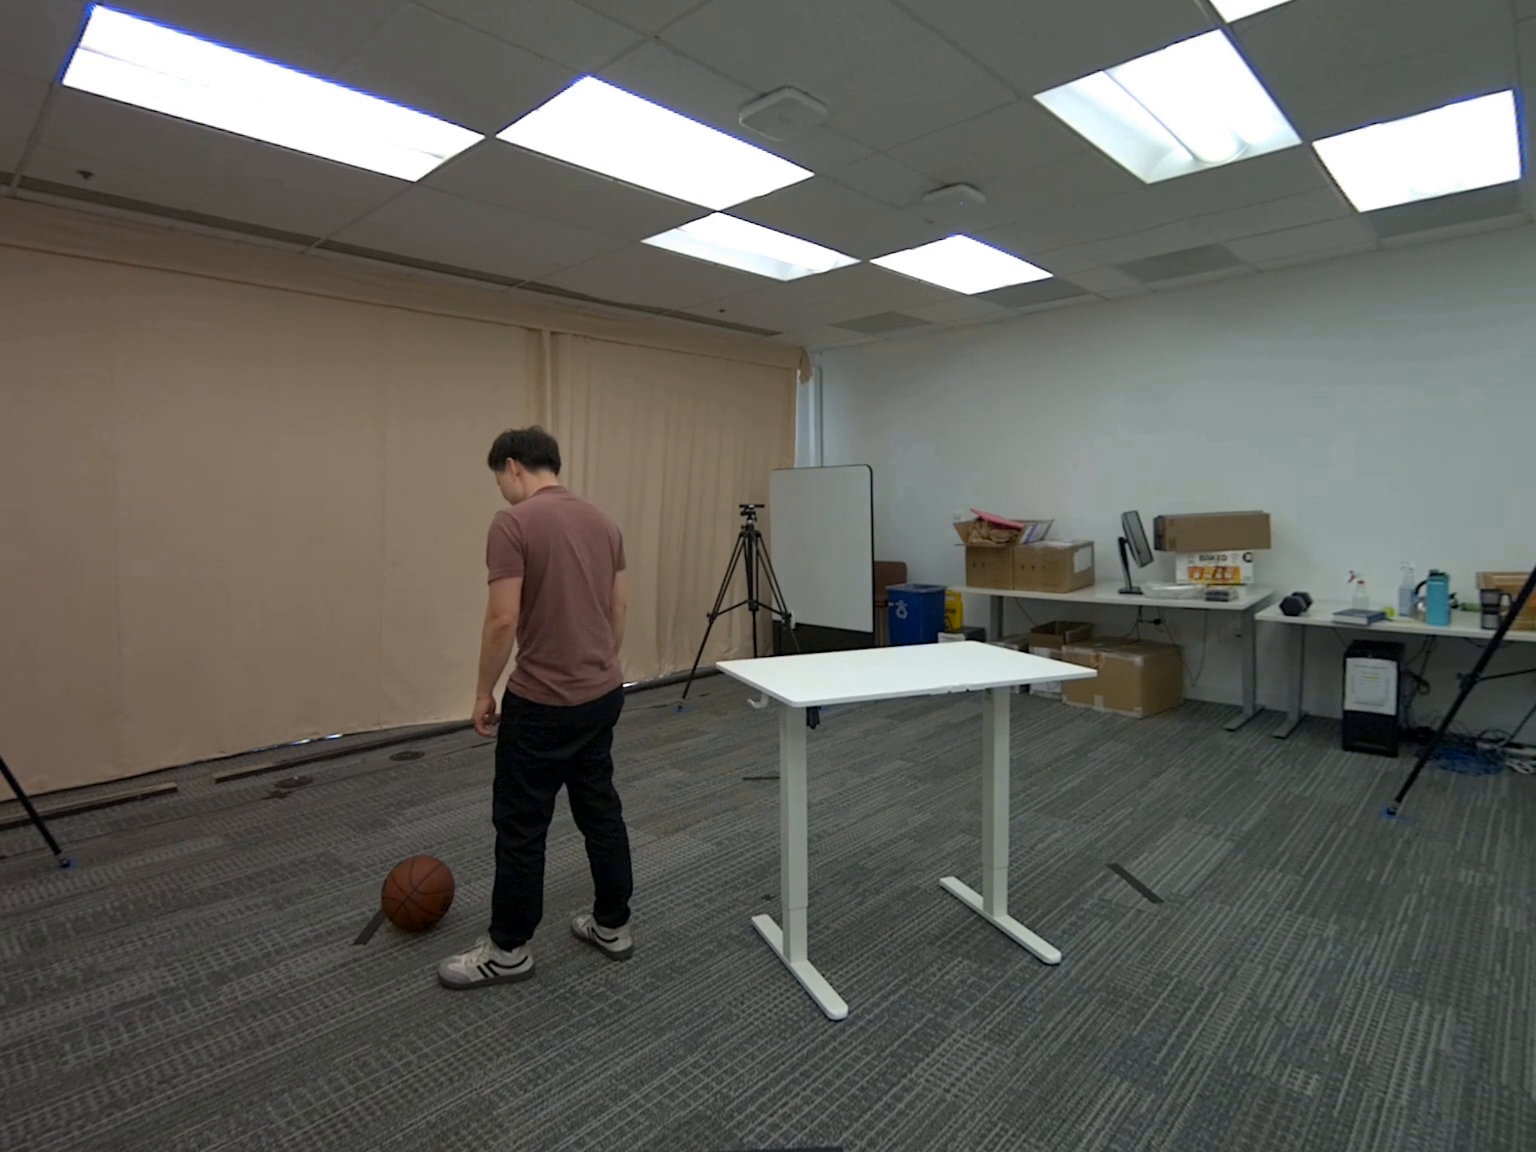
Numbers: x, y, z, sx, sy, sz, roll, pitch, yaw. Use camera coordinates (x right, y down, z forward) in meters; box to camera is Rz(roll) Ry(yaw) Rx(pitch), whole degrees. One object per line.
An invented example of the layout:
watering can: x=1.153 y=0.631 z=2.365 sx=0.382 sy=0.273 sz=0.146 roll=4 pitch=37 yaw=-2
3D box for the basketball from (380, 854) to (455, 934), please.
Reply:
basketball: x=-1.179 y=1.059 z=2.827 sx=0.236 sy=0.235 sz=0.237 roll=-1 pitch=4 yaw=-2
